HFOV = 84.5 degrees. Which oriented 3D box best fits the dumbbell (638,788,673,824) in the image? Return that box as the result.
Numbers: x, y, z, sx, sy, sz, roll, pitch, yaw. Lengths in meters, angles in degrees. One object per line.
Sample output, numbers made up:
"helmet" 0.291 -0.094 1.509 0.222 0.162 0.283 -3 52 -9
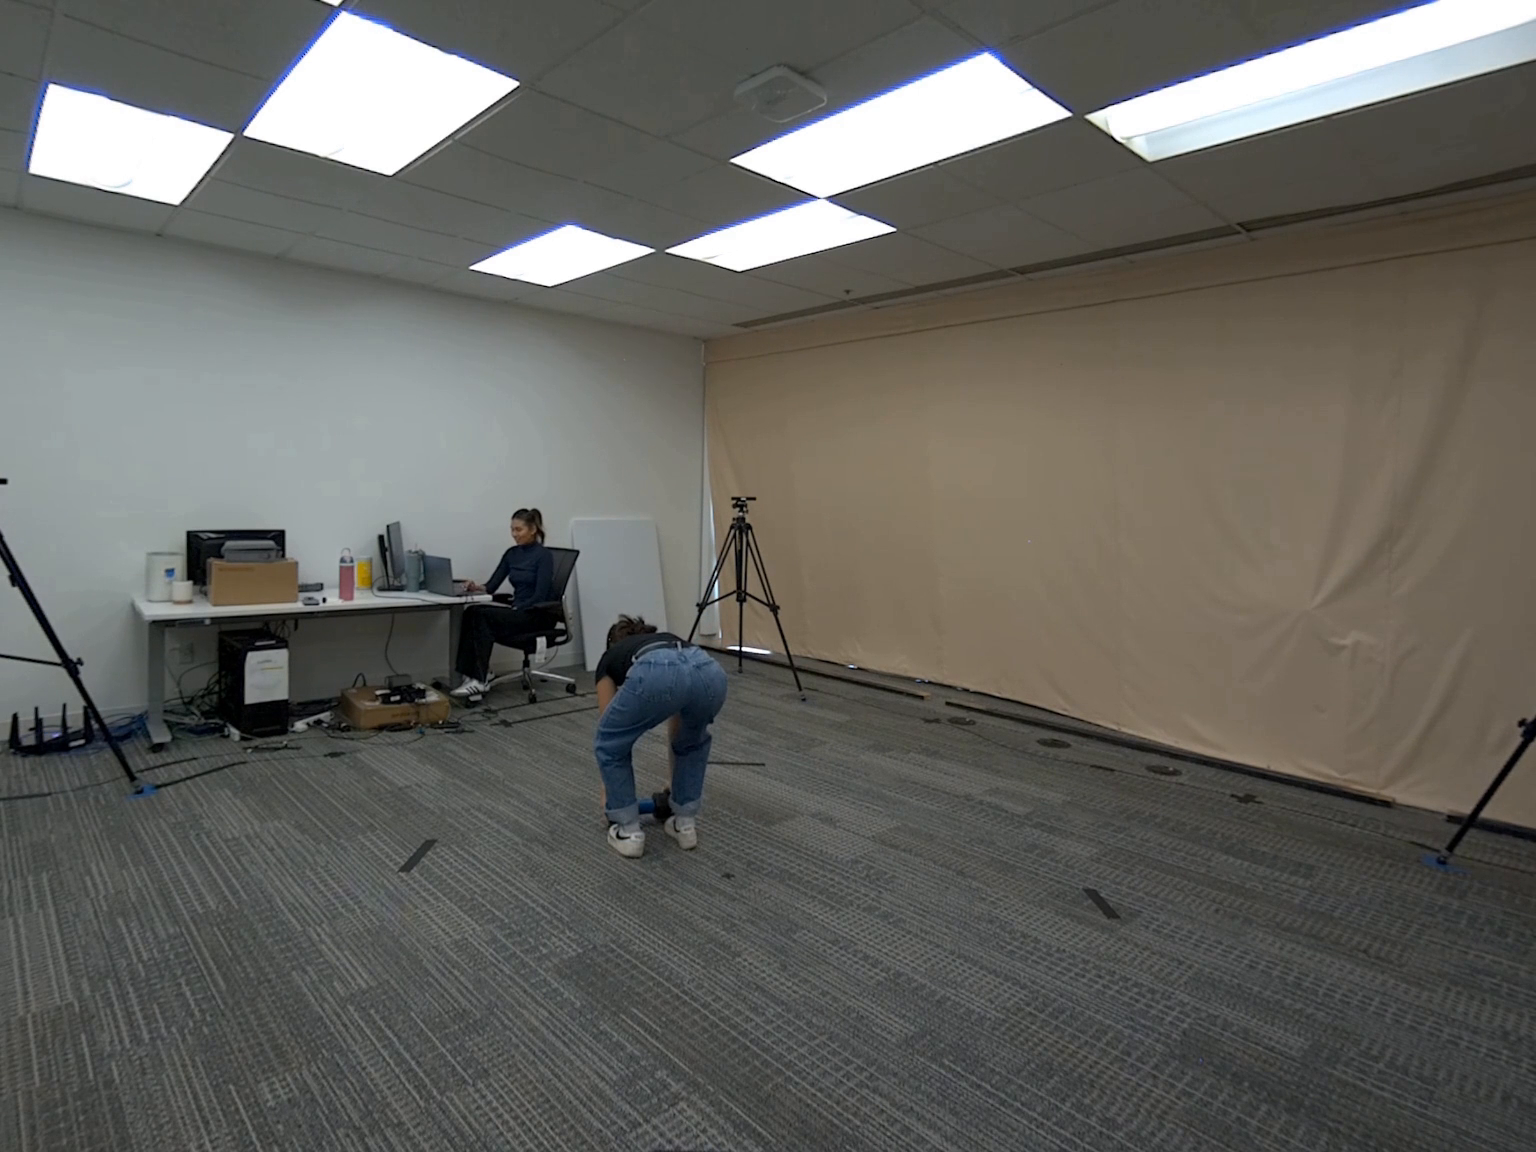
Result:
"dumbbell" -0.556 0.989 3.588 0.289 0.107 0.126 -2 48 -21
